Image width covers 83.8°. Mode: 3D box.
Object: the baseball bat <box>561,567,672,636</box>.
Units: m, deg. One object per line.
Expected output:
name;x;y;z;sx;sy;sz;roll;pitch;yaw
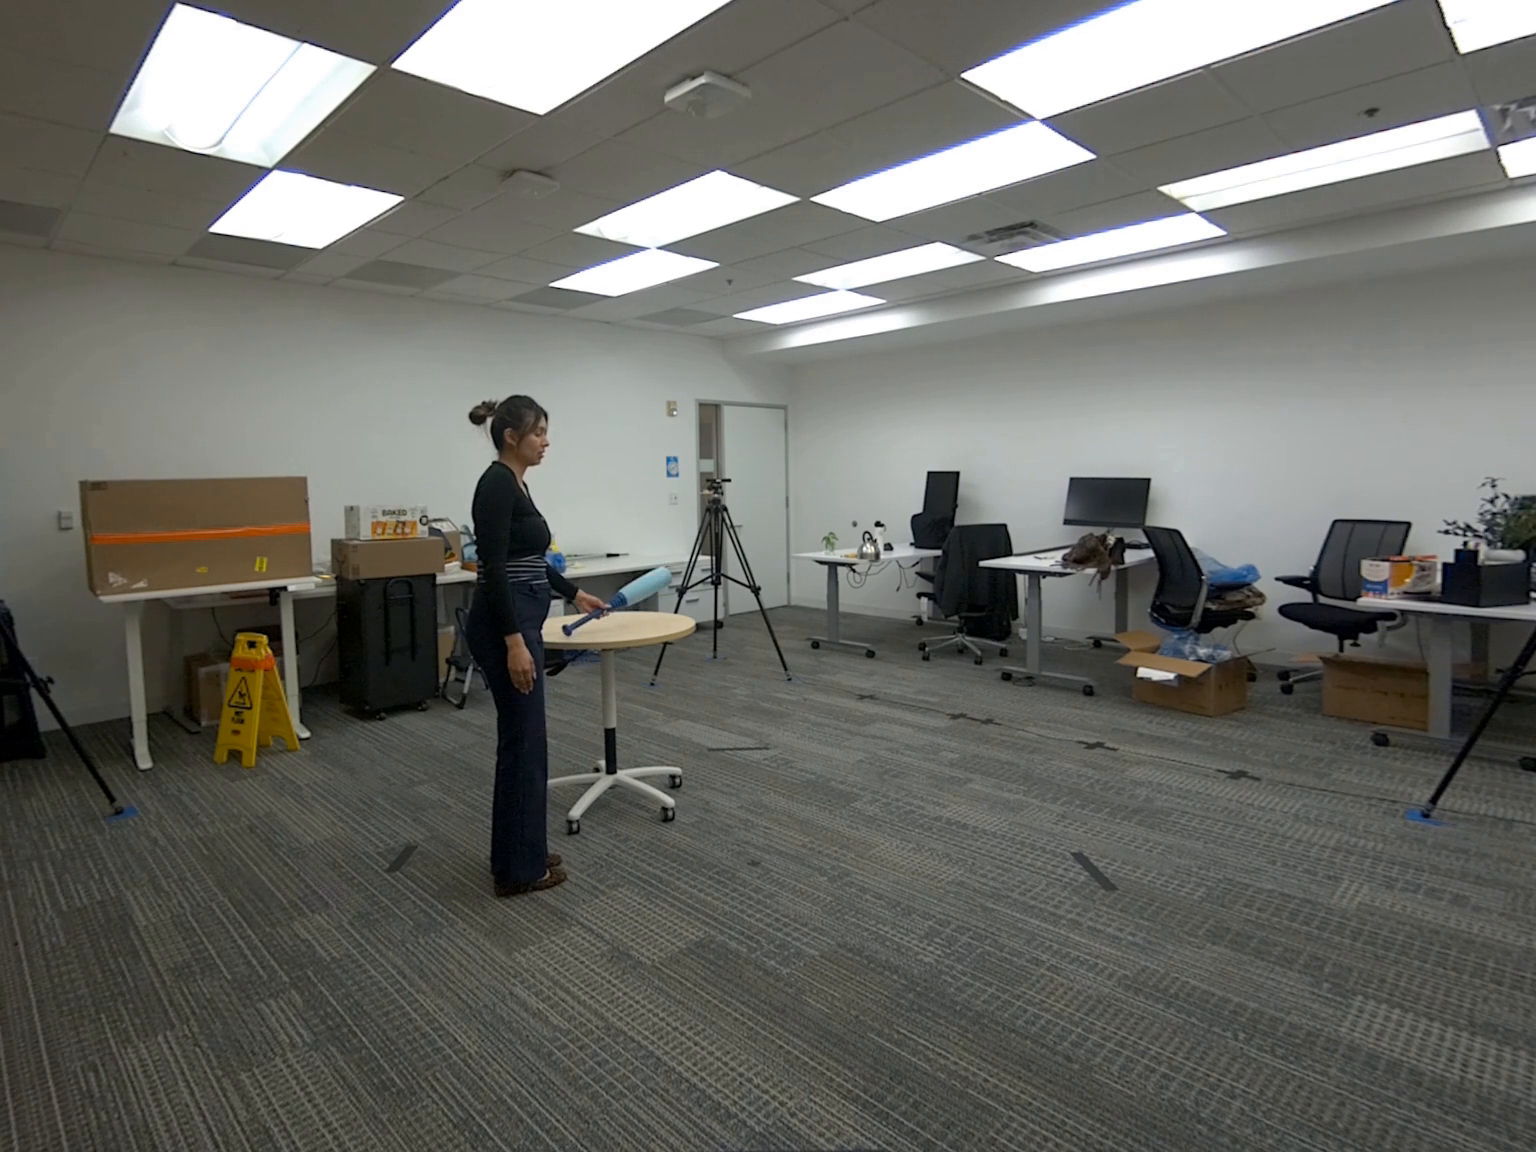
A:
baseball bat;-0.613;0.101;3.508;0.537;0.087;0.092;-32;23;-36
